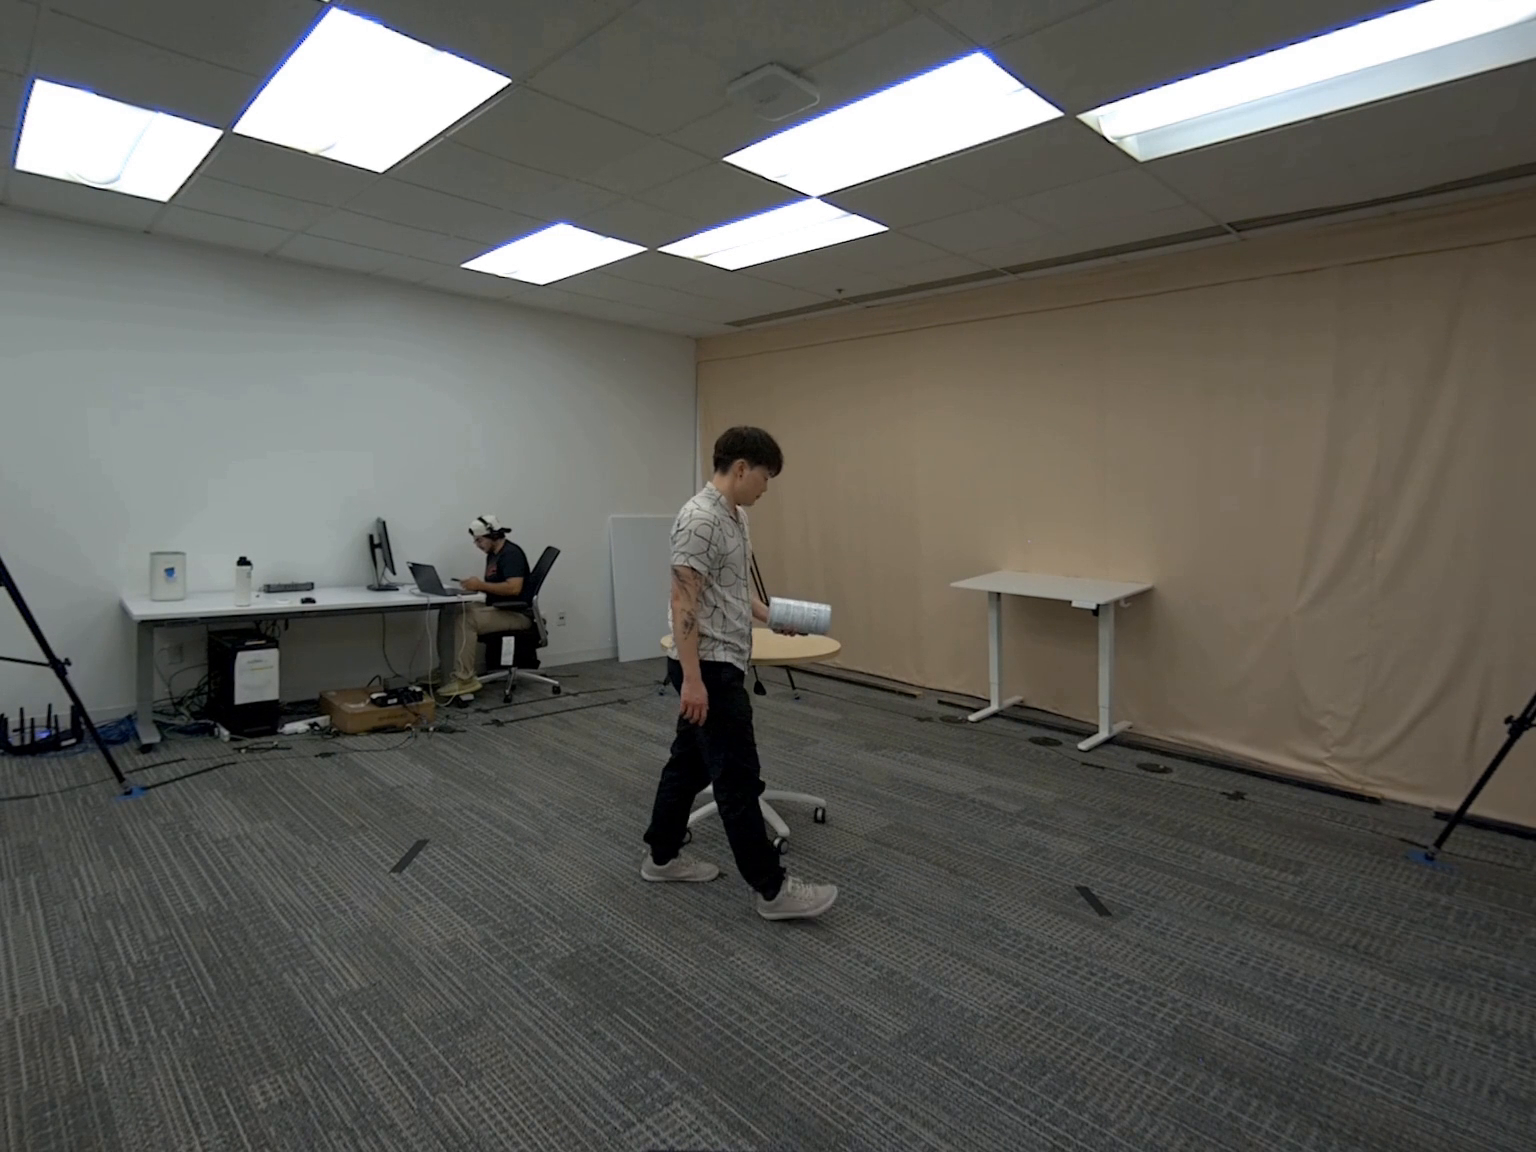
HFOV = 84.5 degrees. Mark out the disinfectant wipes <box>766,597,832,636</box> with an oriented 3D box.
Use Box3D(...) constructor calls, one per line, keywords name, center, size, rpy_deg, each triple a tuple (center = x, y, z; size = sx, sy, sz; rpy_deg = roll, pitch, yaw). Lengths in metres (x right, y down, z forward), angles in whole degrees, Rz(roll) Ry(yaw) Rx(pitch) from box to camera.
Box3D(name="disinfectant wipes", center=(0.107, 0.138, 2.936), size=(0.217, 0.117, 0.118), rpy_deg=(7, 4, 0))
